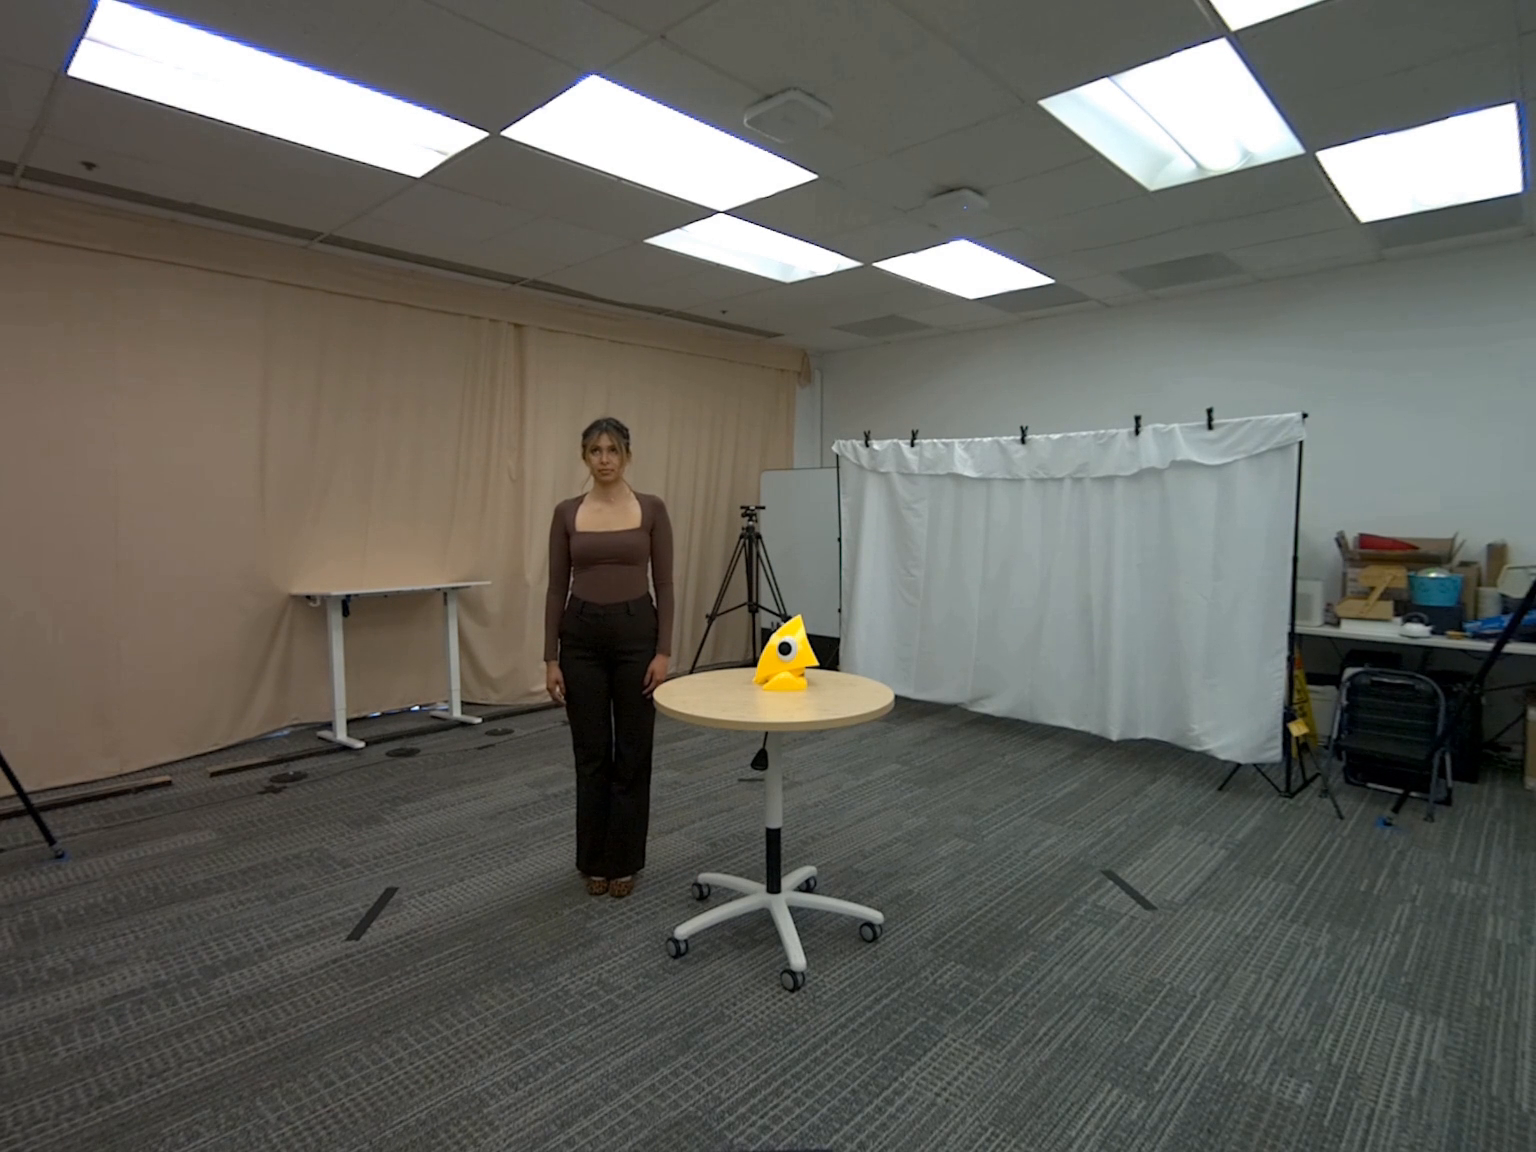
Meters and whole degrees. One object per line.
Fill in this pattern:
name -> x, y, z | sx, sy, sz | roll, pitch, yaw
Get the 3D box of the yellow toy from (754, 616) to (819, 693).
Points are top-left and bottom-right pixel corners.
yellow toy -> 0.055, 0.247, 2.792 | 0.190, 0.230, 0.208 | -1, 4, -15
